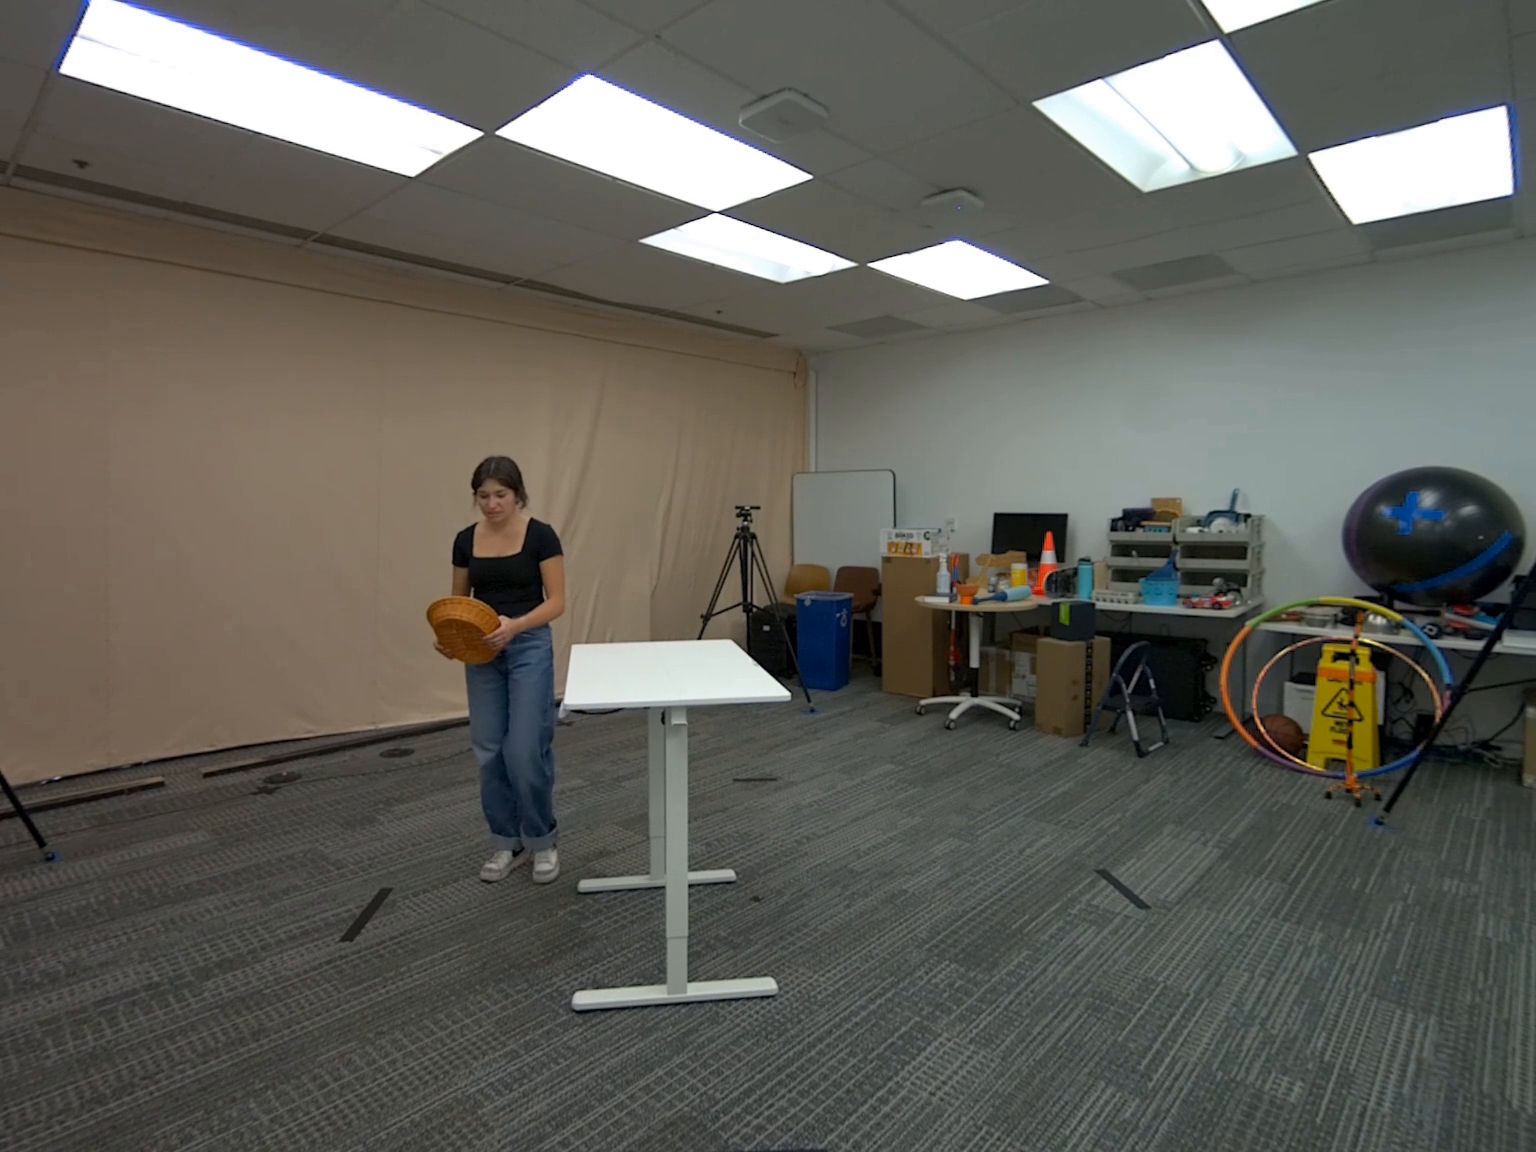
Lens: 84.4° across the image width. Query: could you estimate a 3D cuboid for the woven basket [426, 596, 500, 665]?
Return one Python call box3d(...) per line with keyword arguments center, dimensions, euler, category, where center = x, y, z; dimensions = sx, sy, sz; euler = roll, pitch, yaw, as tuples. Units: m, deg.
box3d(center=(-1.060, 0.202, 2.969), dimensions=(0.254, 0.075, 0.342), euler=(-6, -40, 5), category="woven basket")
